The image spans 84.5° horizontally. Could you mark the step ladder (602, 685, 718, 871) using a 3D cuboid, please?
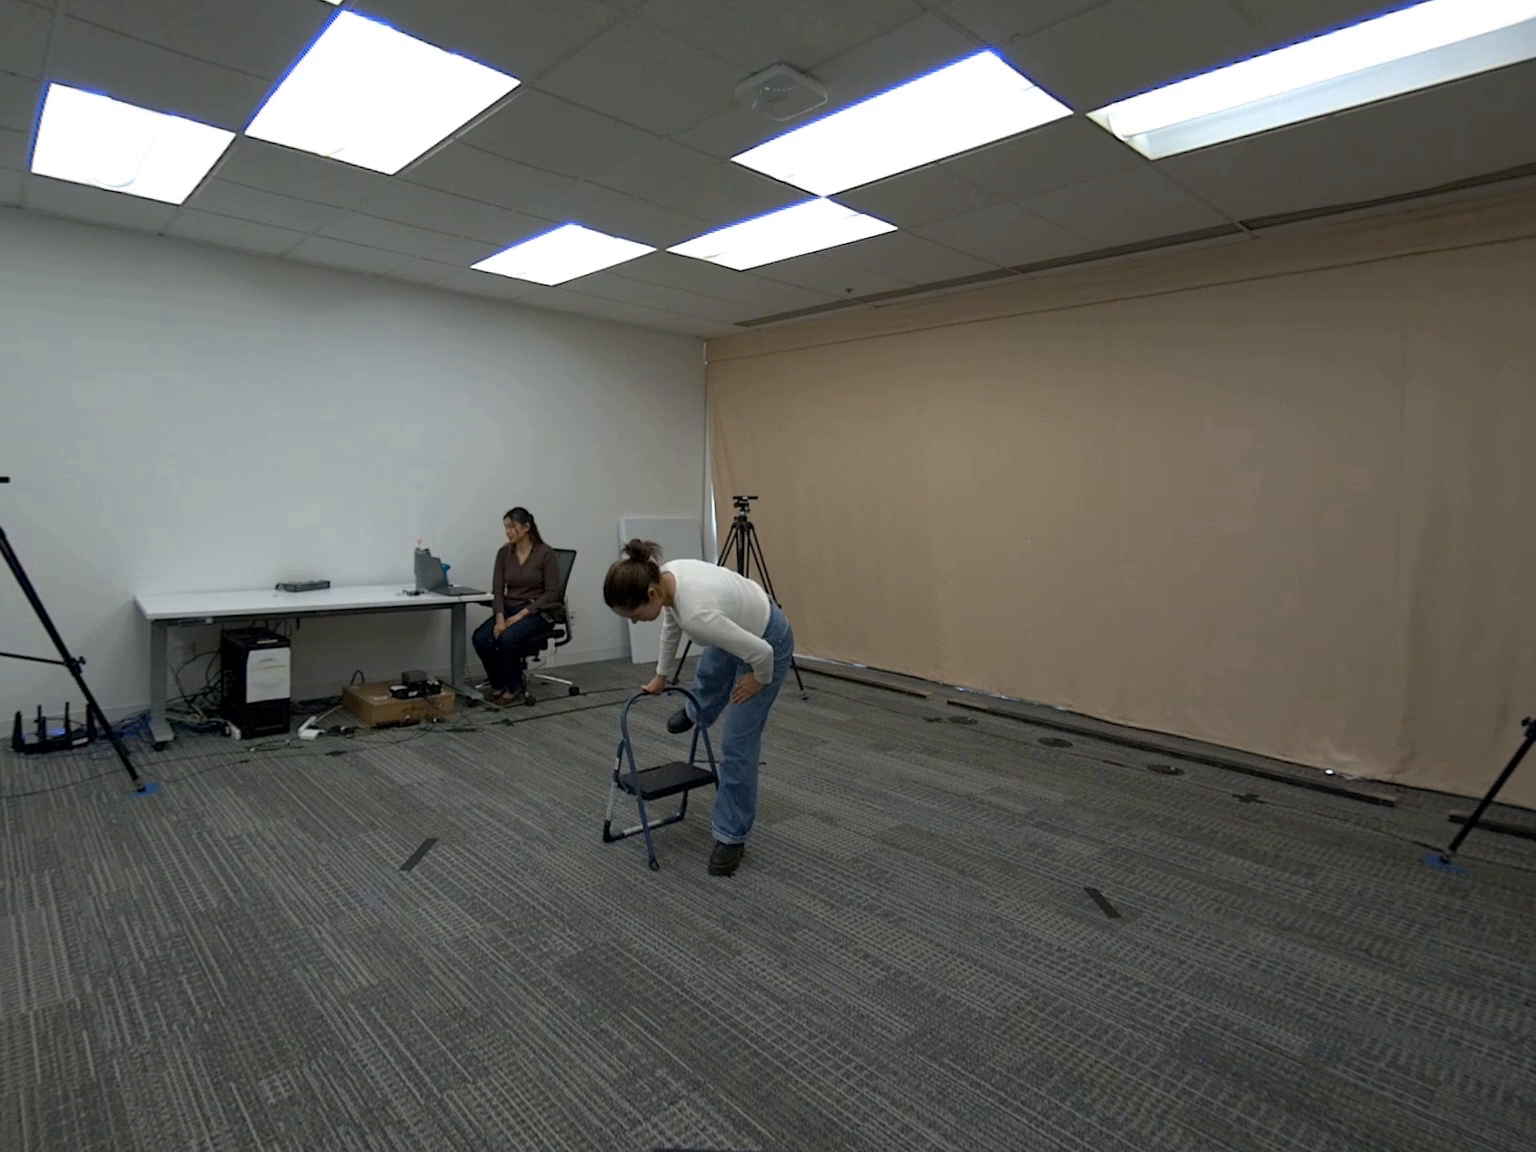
[{"bbox_3d":[-0.405,0.767,3.381,0.358,0.605,0.420,2,2,45],"label":"step ladder"}]
